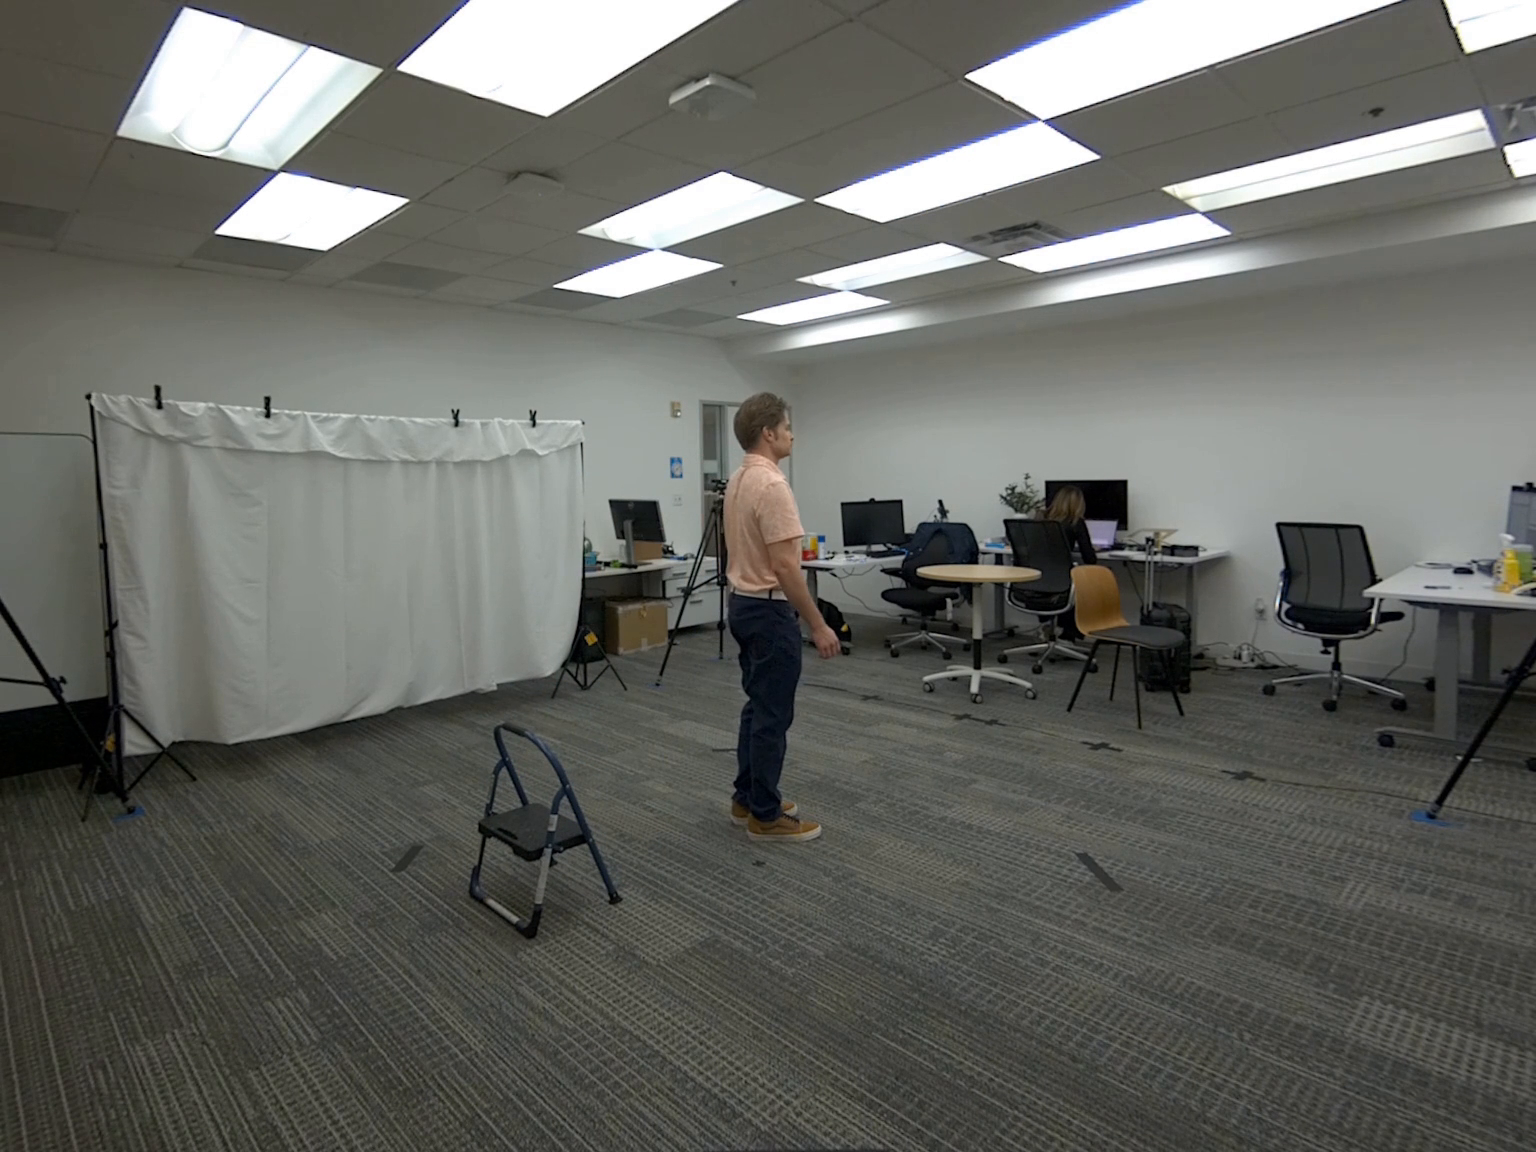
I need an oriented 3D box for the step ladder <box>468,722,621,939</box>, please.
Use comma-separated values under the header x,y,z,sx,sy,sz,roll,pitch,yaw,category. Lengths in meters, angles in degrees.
x,y,z,sx,sy,sz,roll,pitch,yaw,category
-0.763,0.787,2.868,0.444,0.604,0.340,2,6,45,step ladder
